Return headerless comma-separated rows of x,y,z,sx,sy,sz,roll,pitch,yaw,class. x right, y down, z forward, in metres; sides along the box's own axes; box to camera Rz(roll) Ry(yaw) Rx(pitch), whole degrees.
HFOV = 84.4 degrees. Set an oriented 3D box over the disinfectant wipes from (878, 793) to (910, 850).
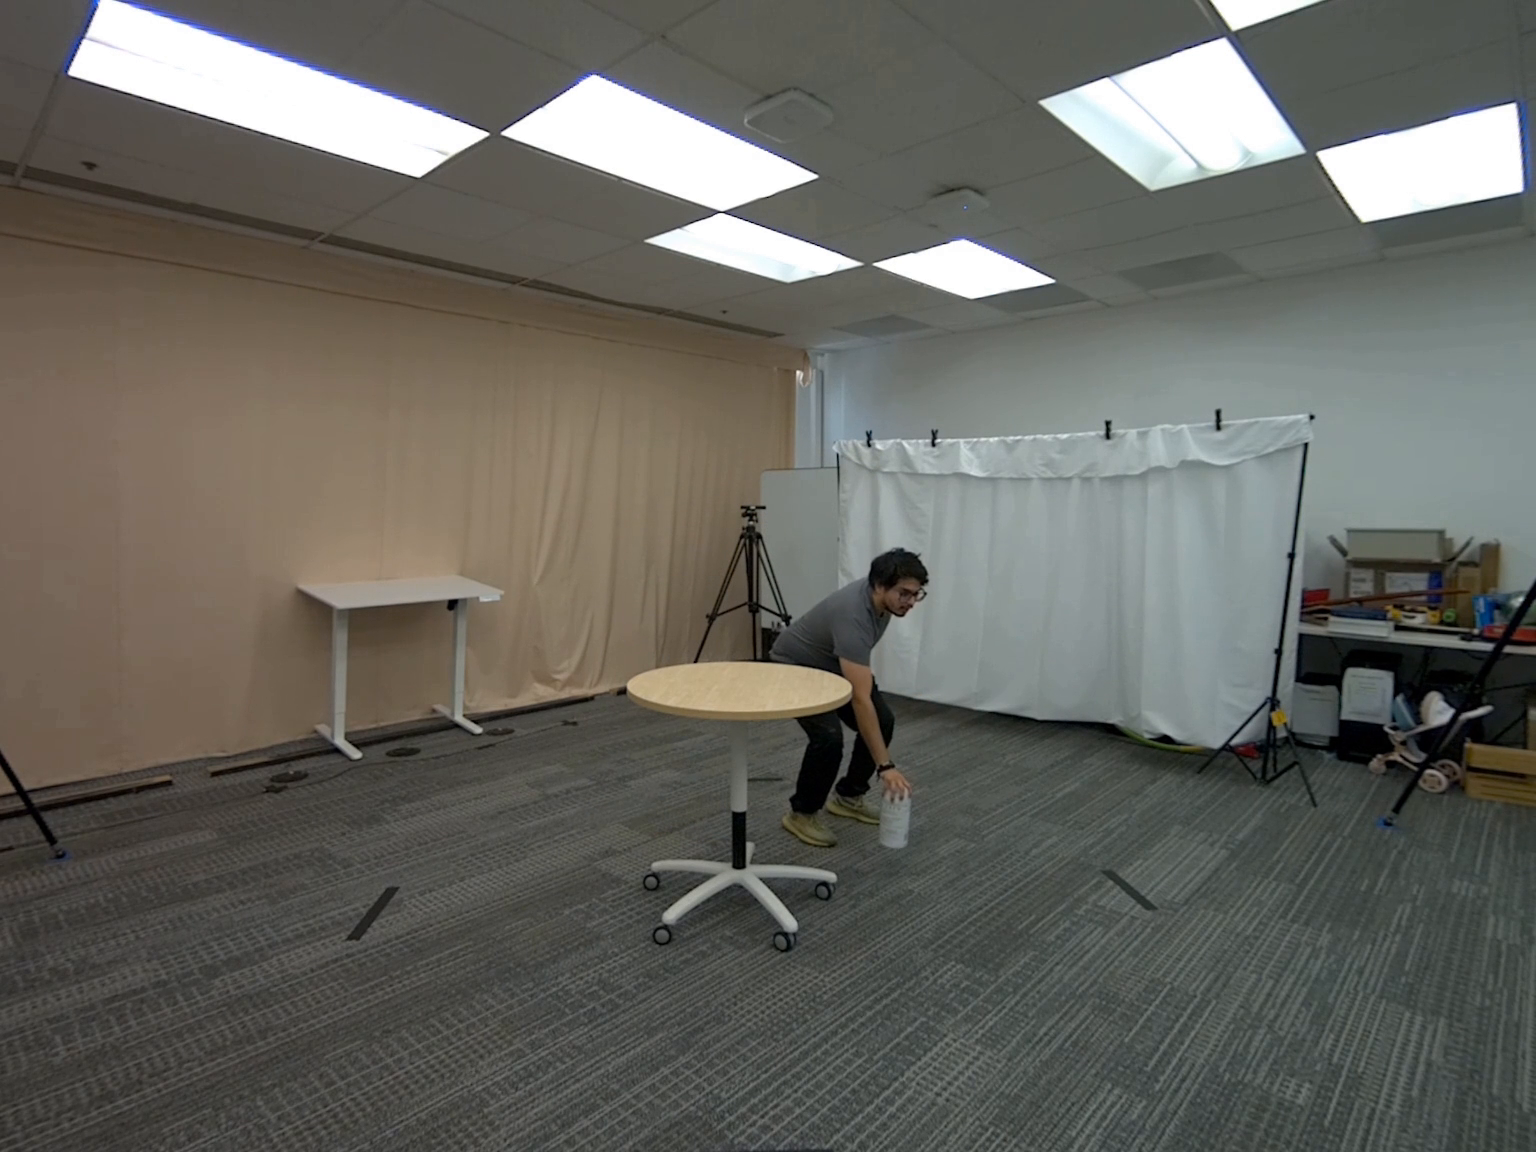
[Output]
0.490,0.914,3.215,0.118,0.216,0.118,0,8,-2,disinfectant wipes
